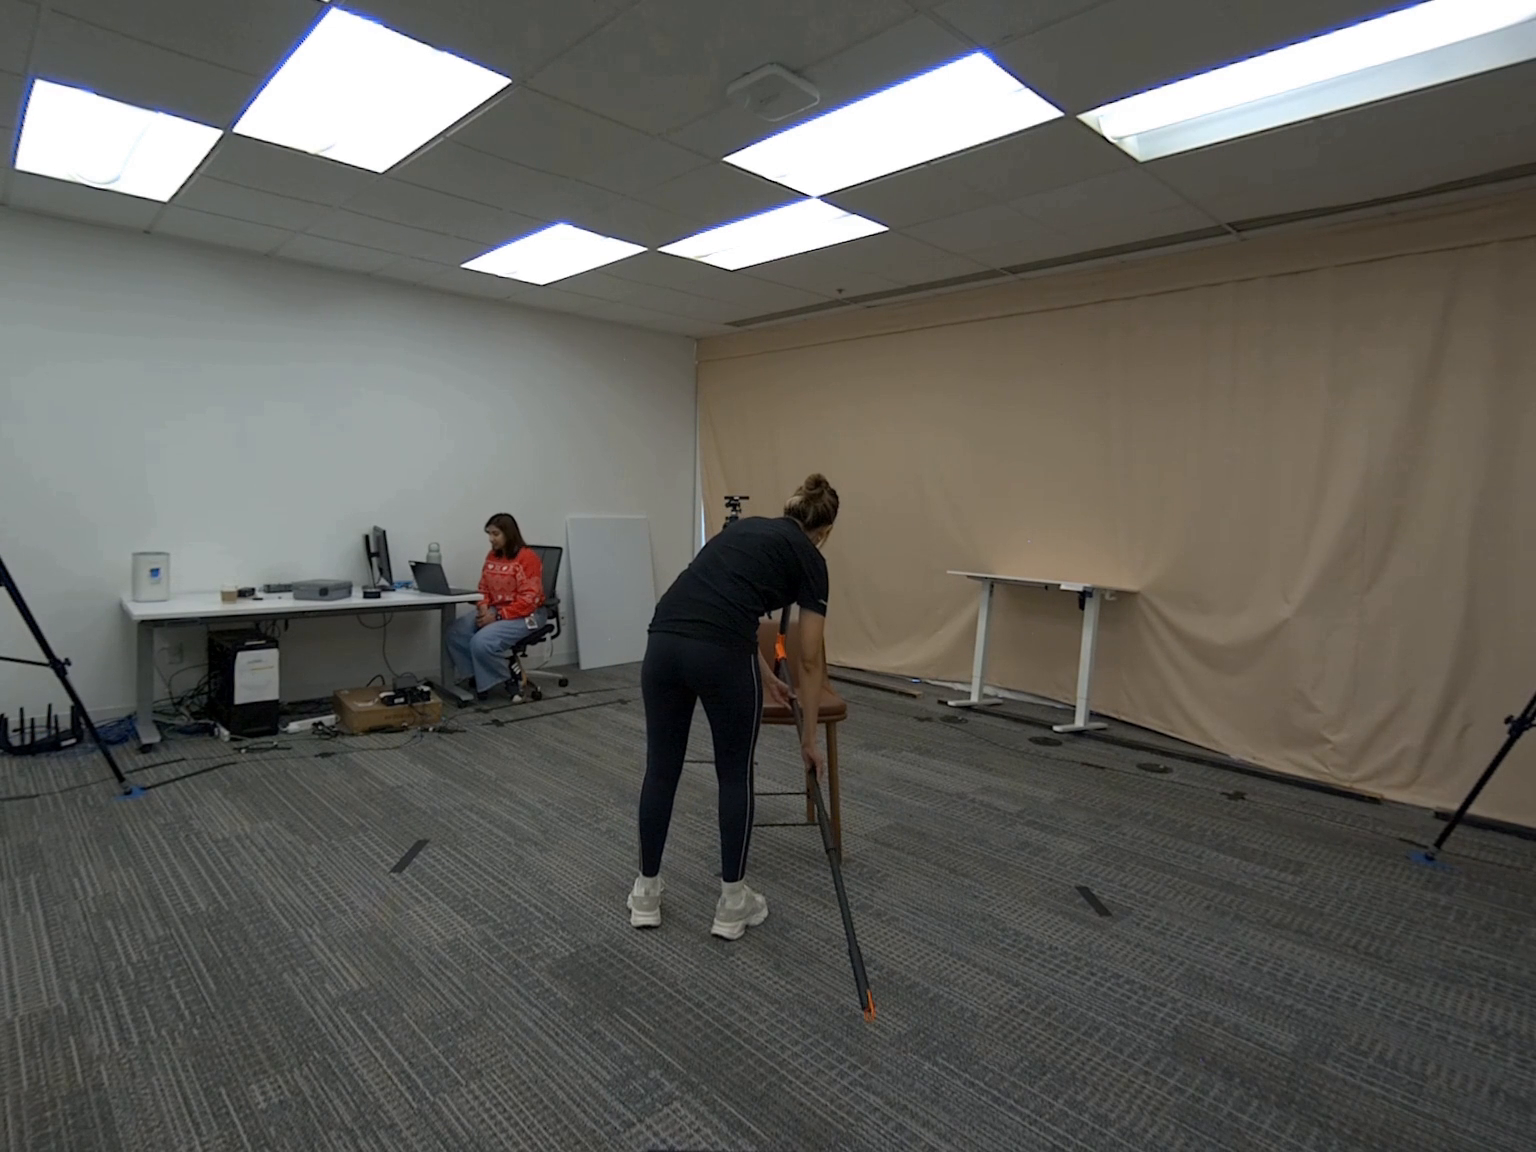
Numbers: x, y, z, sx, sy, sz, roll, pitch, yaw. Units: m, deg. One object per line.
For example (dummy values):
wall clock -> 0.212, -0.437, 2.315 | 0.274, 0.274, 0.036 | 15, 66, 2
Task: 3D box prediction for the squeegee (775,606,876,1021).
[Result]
squeegee -> 0.158, 0.698, 2.765 | 0.053, 0.427, 1.574 | -10, 32, -2
